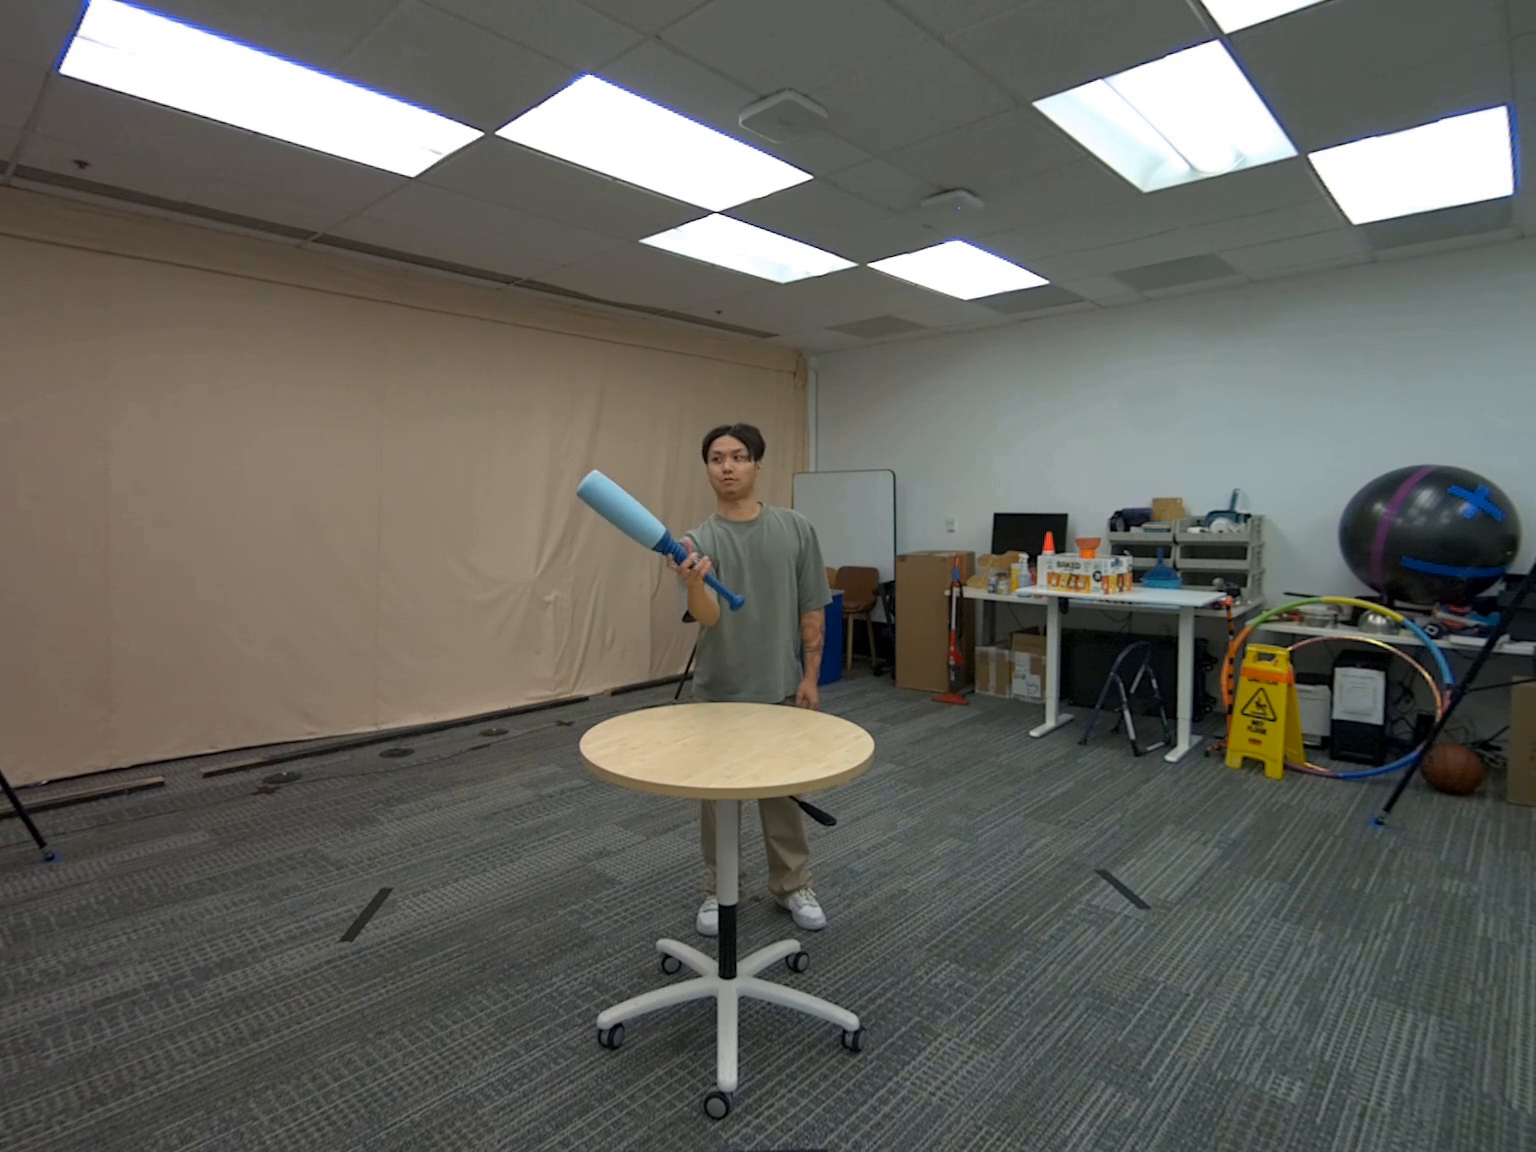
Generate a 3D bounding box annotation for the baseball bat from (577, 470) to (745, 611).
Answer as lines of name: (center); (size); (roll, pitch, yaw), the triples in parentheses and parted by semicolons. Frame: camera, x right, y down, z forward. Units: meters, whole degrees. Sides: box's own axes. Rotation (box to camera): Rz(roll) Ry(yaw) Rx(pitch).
baseball bat: (-0.283, -0.066, 2.235); (0.536, 0.089, 0.090); (39, -5, -11)
